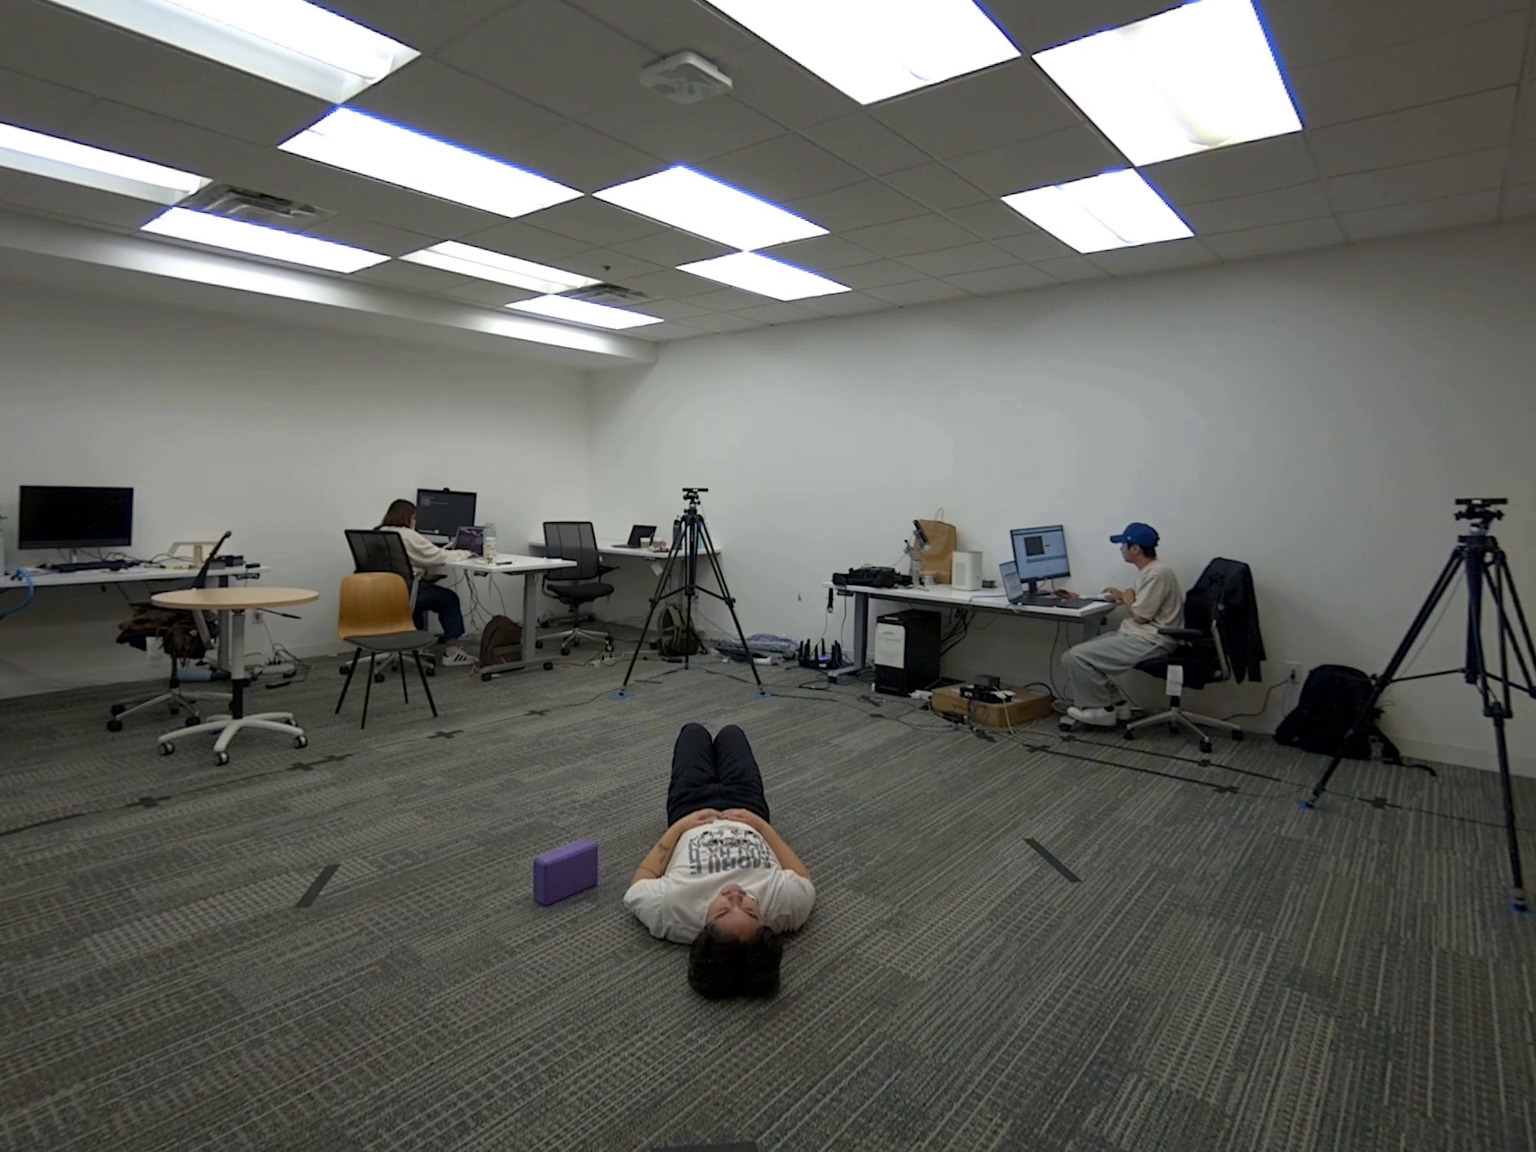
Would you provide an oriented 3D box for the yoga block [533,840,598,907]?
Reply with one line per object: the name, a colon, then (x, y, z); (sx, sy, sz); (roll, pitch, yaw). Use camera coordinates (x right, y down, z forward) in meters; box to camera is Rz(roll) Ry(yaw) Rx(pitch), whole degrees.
yoga block: (-0.702, 1.006, 2.906); (0.079, 0.148, 0.223); (3, 5, 39)
